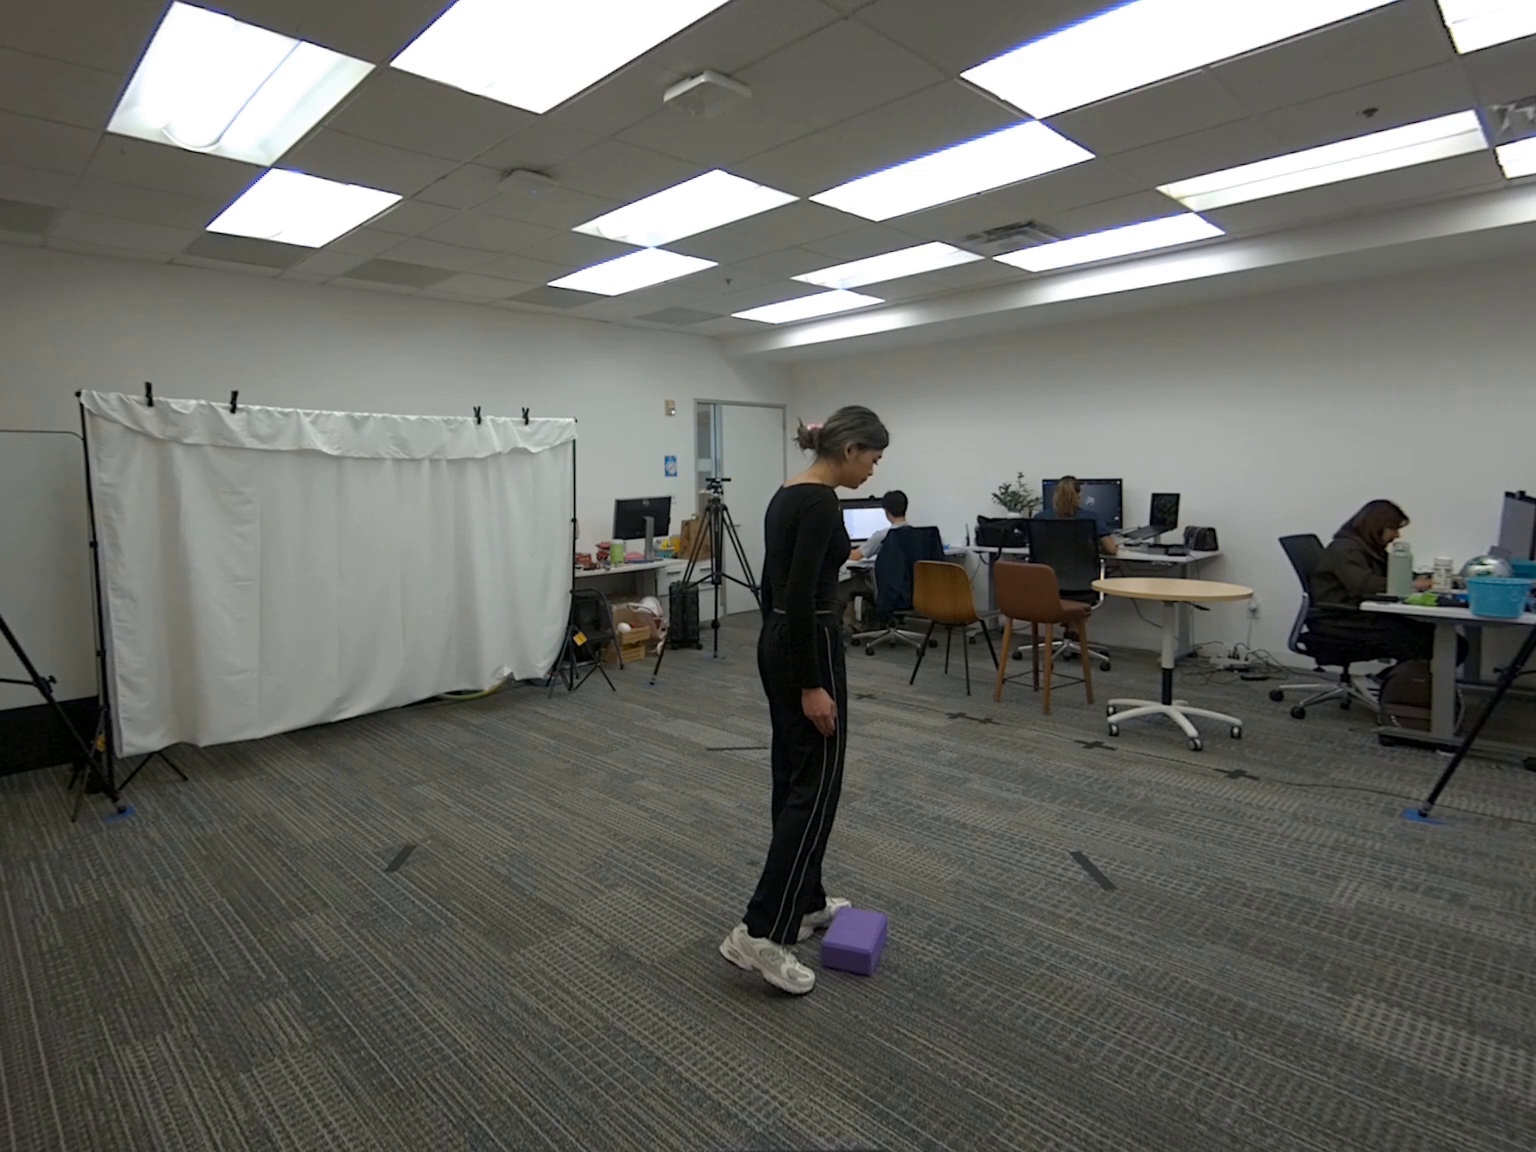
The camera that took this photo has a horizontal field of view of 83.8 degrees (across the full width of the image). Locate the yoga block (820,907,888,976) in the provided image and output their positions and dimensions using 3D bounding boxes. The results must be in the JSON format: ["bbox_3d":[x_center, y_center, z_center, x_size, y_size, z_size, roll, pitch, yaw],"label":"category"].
[{"bbox_3d":[0.254,1.061,2.512,0.152,0.076,0.225,0,5,21],"label":"yoga block"}]
